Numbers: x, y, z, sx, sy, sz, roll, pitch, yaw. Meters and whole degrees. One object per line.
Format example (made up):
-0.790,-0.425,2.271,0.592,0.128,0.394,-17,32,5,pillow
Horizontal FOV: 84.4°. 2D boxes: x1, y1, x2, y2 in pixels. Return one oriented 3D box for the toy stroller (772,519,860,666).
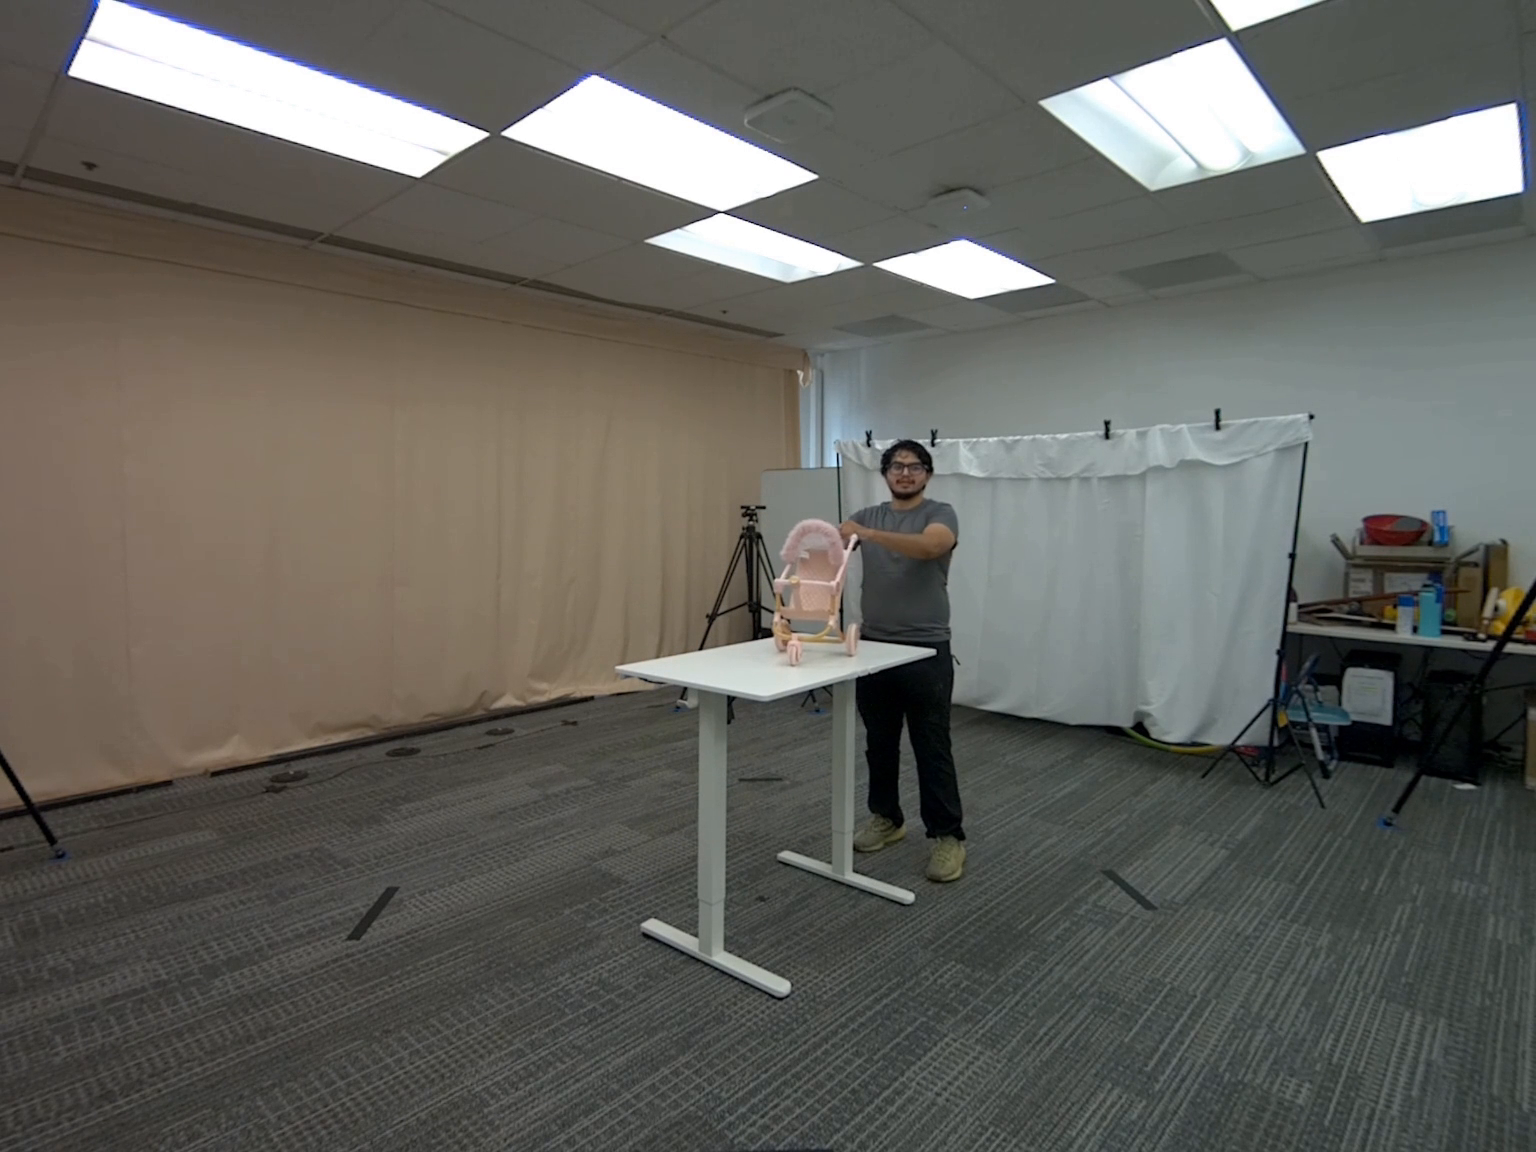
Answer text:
0.154,0.050,2.841,0.289,0.538,0.331,1,-12,25,toy stroller
